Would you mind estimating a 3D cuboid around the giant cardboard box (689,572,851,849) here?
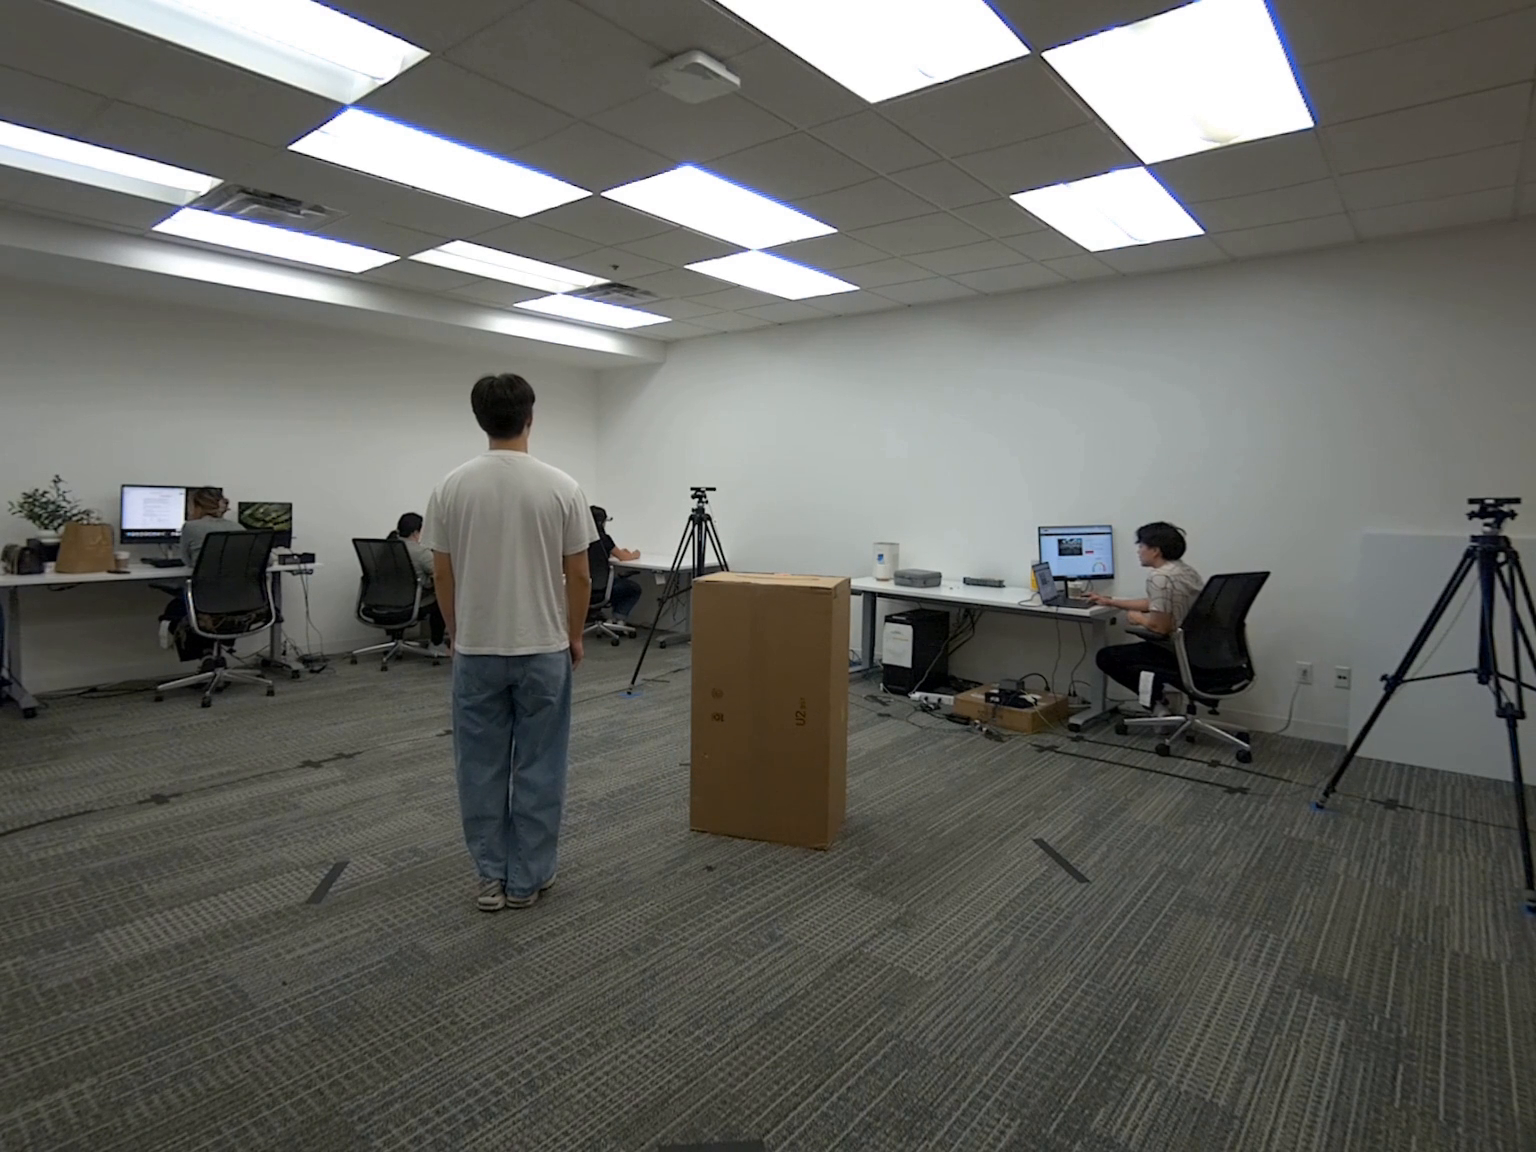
[{"bbox_3d":[0.005,0.517,3.548,0.589,1.023,0.419,2,3,18],"label":"giant cardboard box"}]
